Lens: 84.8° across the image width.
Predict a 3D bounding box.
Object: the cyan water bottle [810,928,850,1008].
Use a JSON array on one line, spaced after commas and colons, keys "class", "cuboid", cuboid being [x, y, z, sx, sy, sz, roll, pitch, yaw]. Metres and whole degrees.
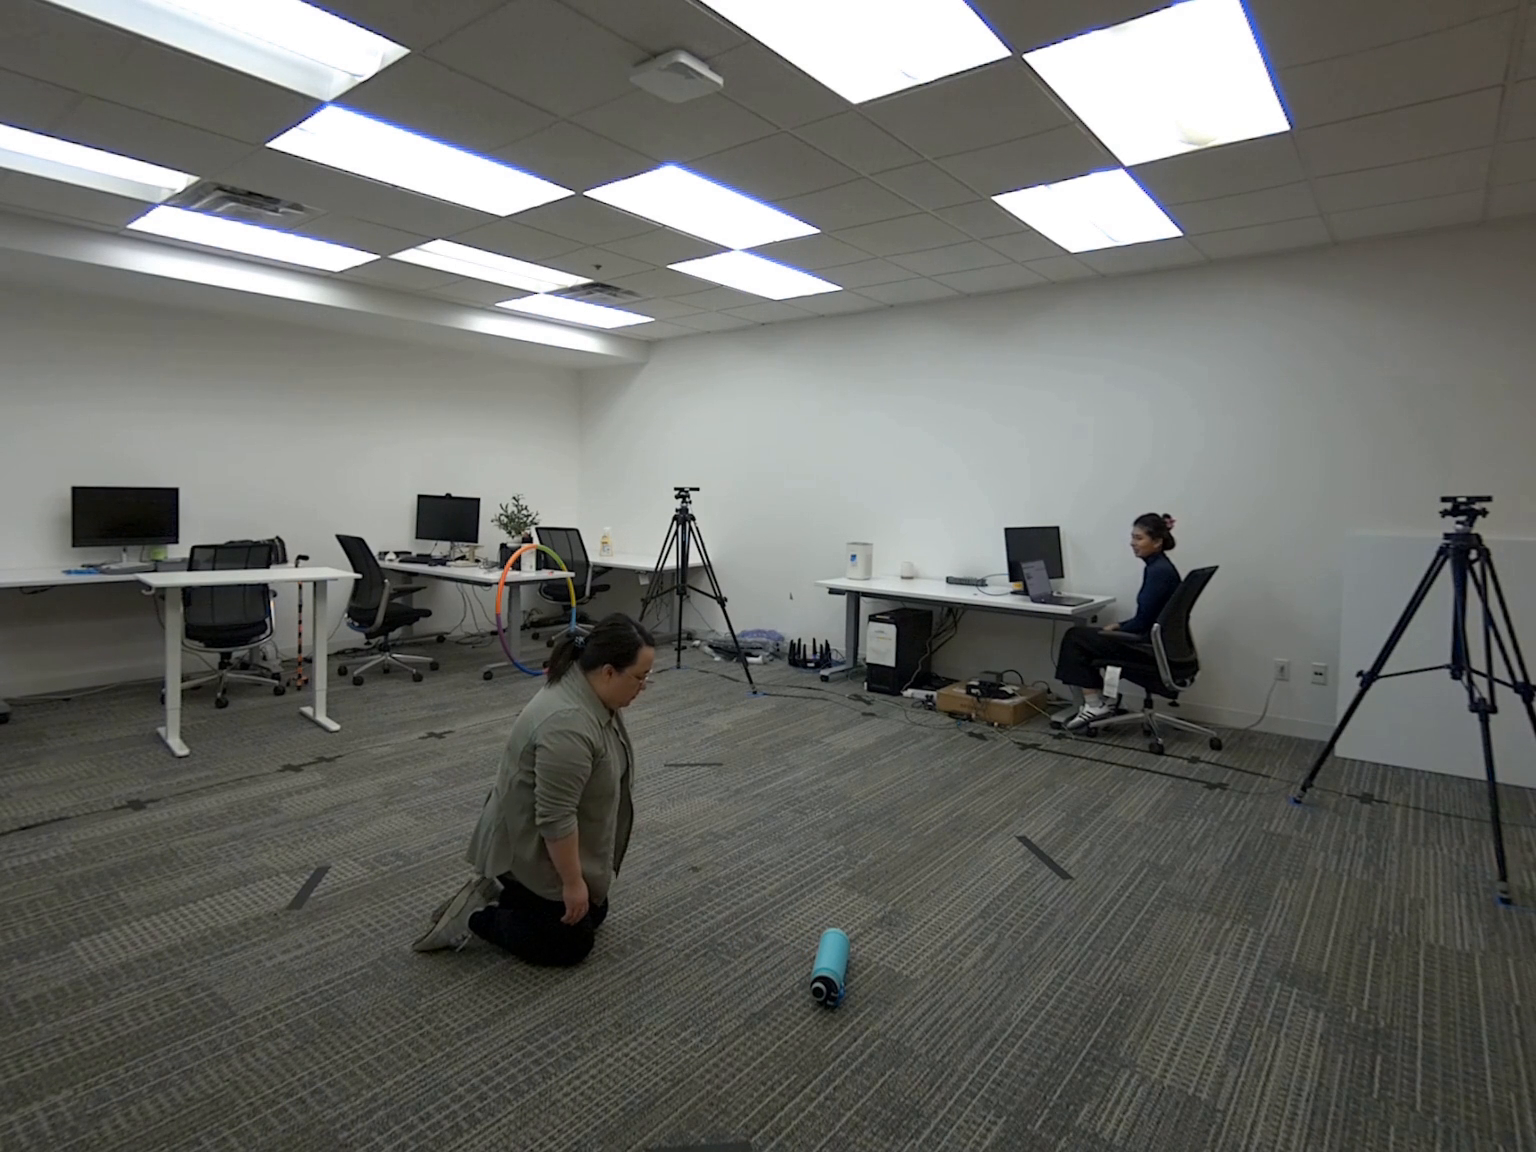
[{"class": "cyan water bottle", "cuboid": [0.169, 1.103, 2.390, 0.093, 0.092, 0.281, 2, 6, 10]}]
